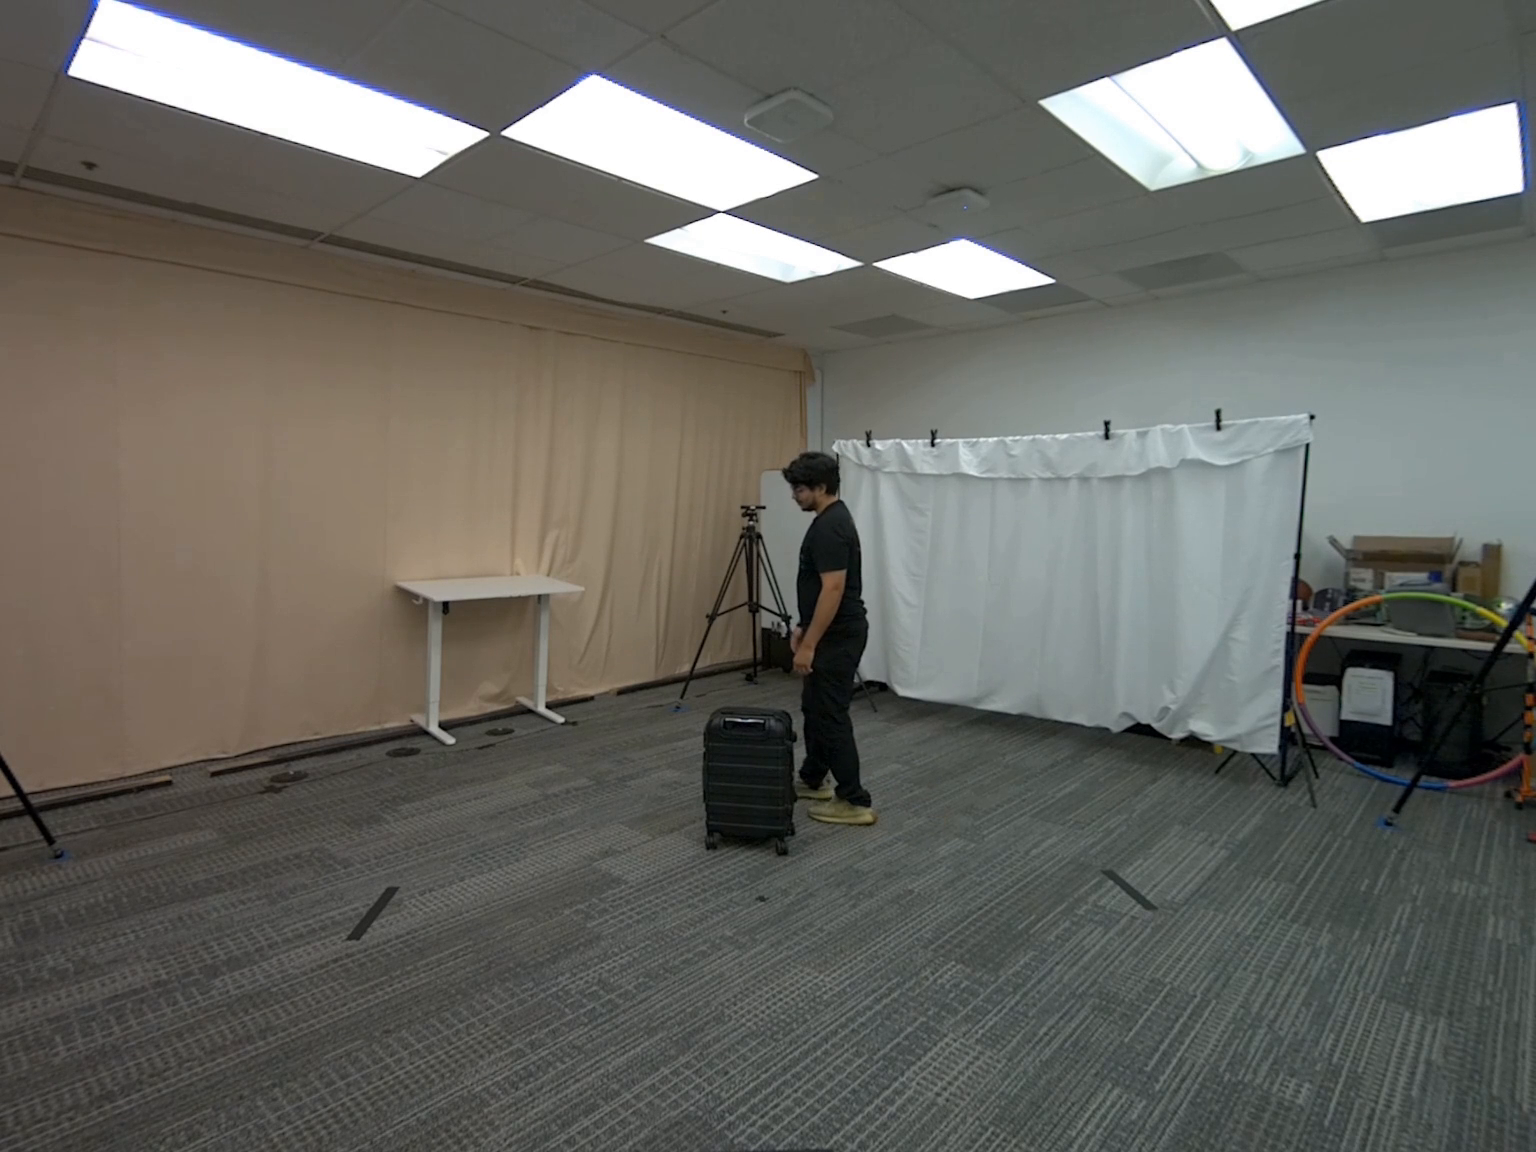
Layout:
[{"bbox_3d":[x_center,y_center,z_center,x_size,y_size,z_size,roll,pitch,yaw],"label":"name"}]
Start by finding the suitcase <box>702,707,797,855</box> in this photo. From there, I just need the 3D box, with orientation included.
[{"bbox_3d":[-0.077,0.824,3.504,0.381,0.549,0.245,0,1,12],"label":"suitcase"}]
